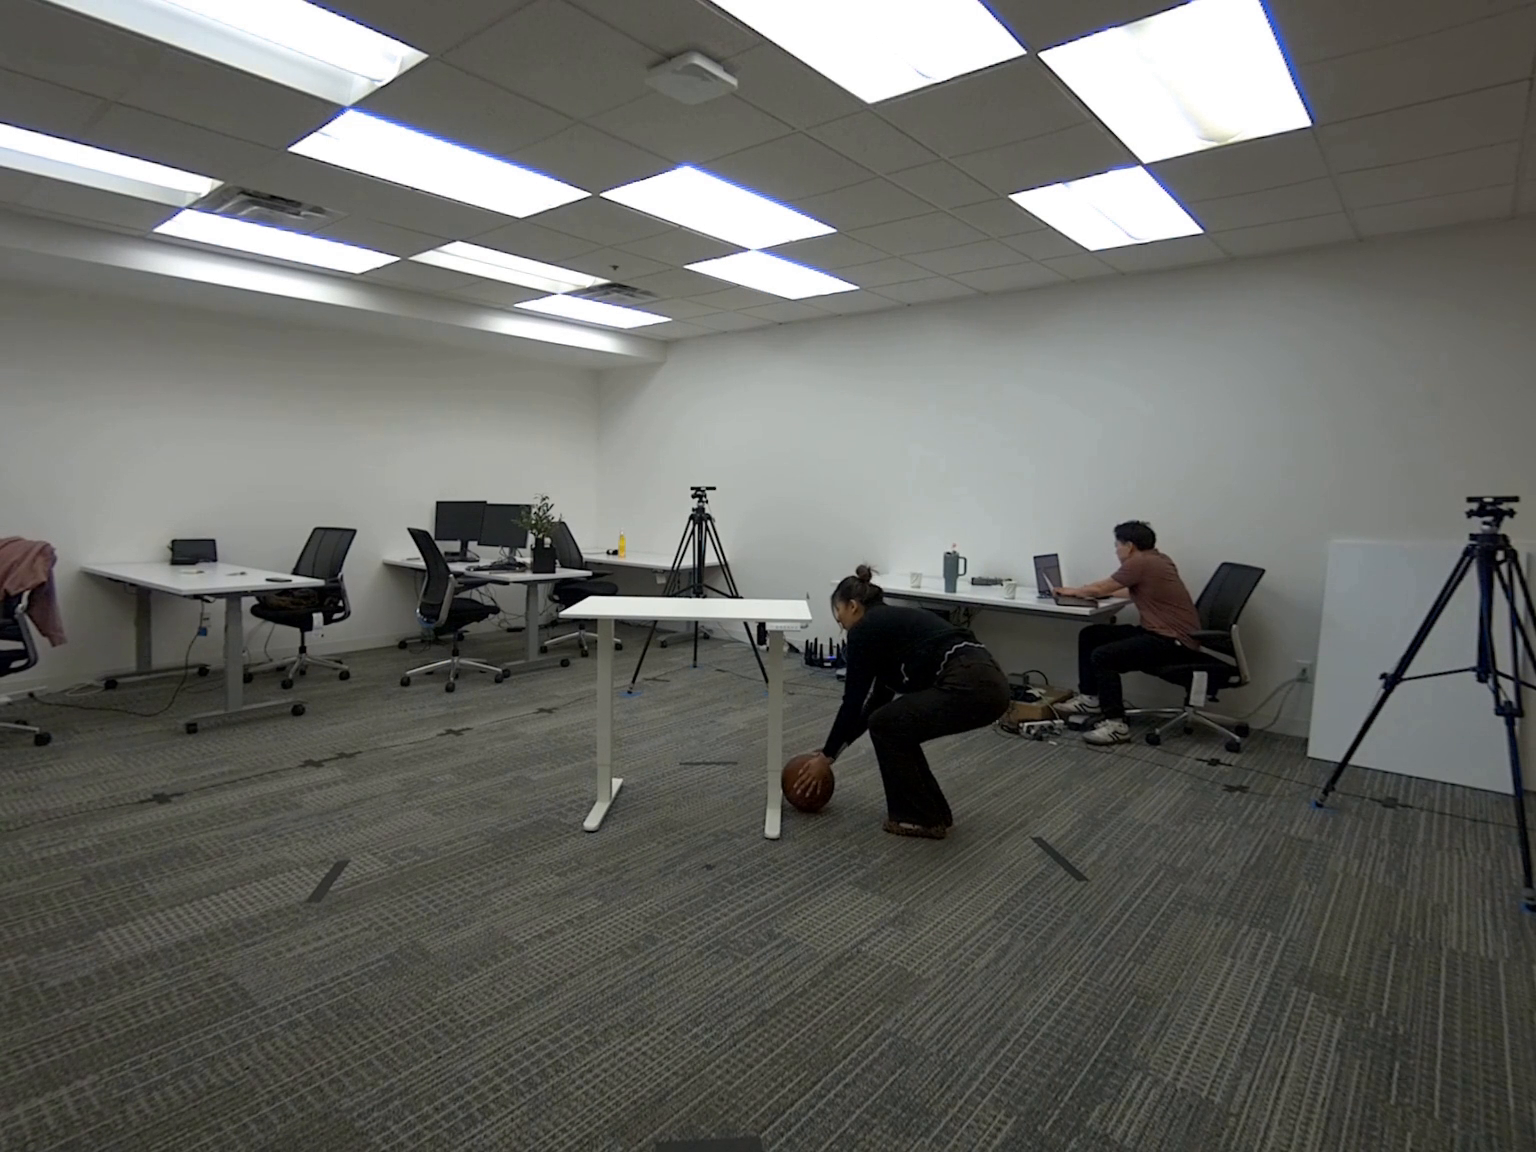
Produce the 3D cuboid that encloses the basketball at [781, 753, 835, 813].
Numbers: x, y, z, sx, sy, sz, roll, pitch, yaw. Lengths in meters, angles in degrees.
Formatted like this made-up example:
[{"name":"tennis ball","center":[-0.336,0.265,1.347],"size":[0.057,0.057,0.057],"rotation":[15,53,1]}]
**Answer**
[{"name":"basketball","center":[0.174,0.892,3.711],"size":[0.235,0.235,0.237],"rotation":[1,4,-2]}]
